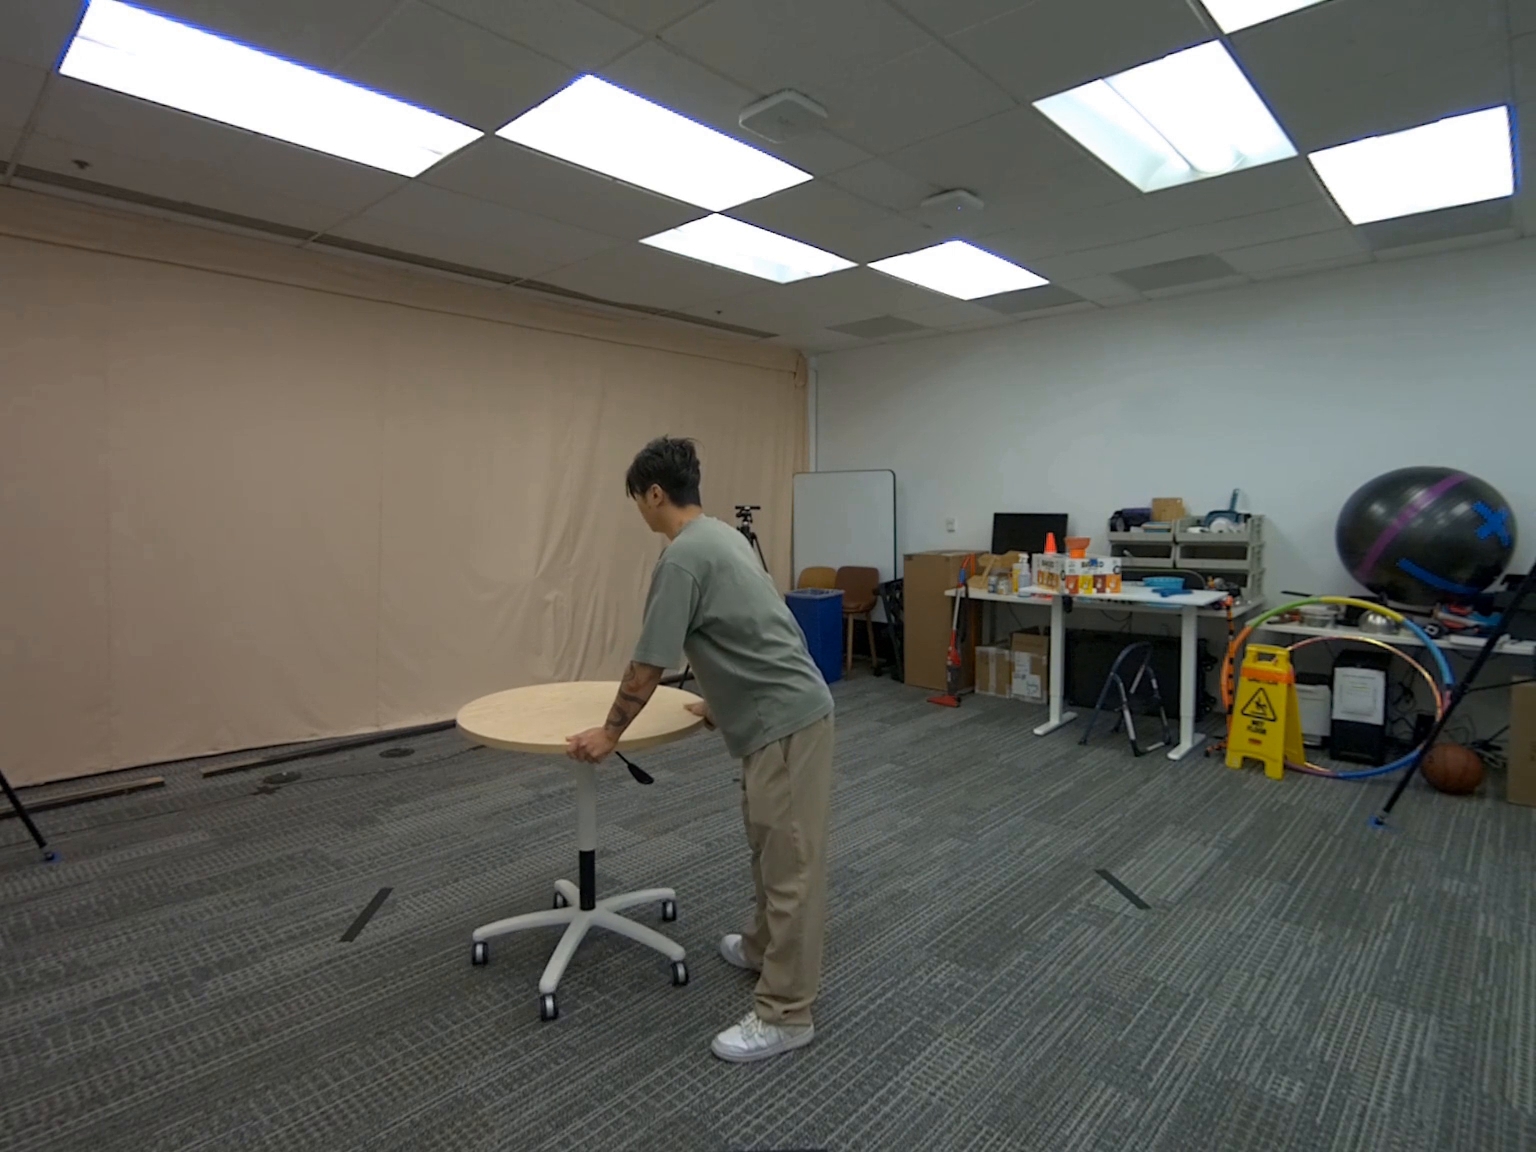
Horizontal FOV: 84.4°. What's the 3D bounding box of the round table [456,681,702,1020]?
[{"bbox_3d":[-0.559,0.789,2.633,0.784,0.785,0.788,0,4,-2],"label":"round table"}]
